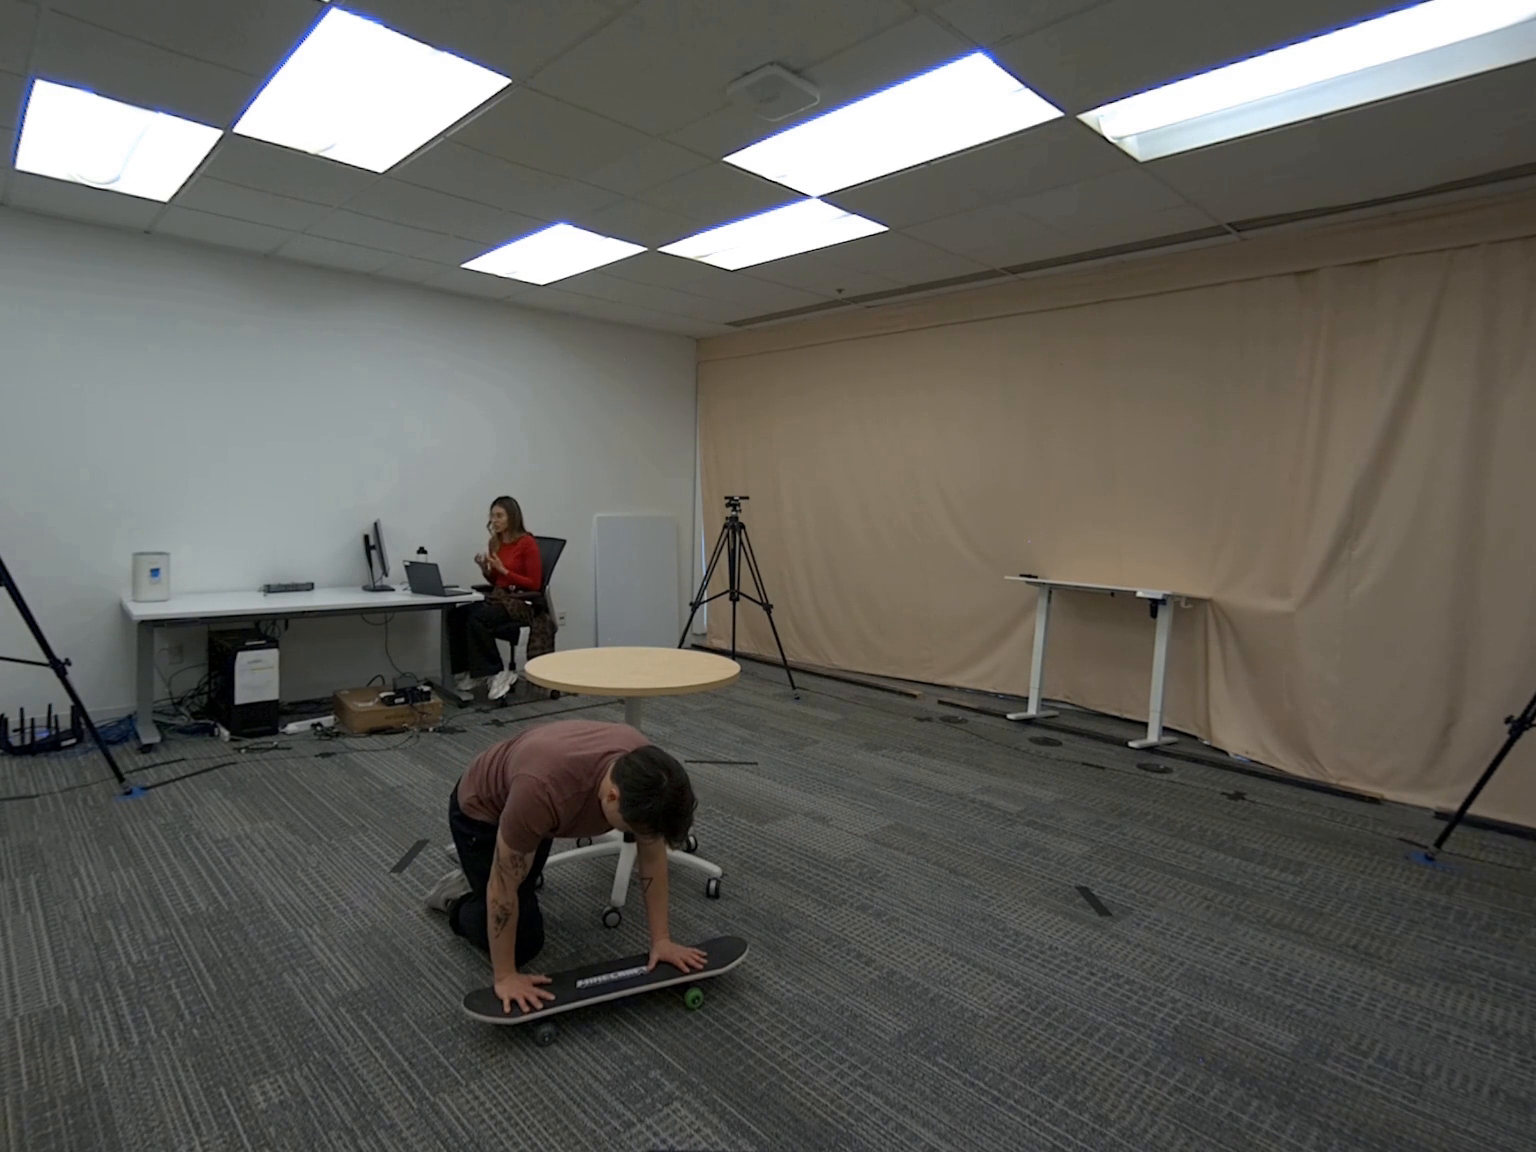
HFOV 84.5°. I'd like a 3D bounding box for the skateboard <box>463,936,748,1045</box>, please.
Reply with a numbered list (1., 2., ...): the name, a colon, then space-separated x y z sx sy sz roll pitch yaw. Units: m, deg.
1. skateboard: -0.417 1.121 2.277 0.772 0.110 0.197 -2 1 -24
